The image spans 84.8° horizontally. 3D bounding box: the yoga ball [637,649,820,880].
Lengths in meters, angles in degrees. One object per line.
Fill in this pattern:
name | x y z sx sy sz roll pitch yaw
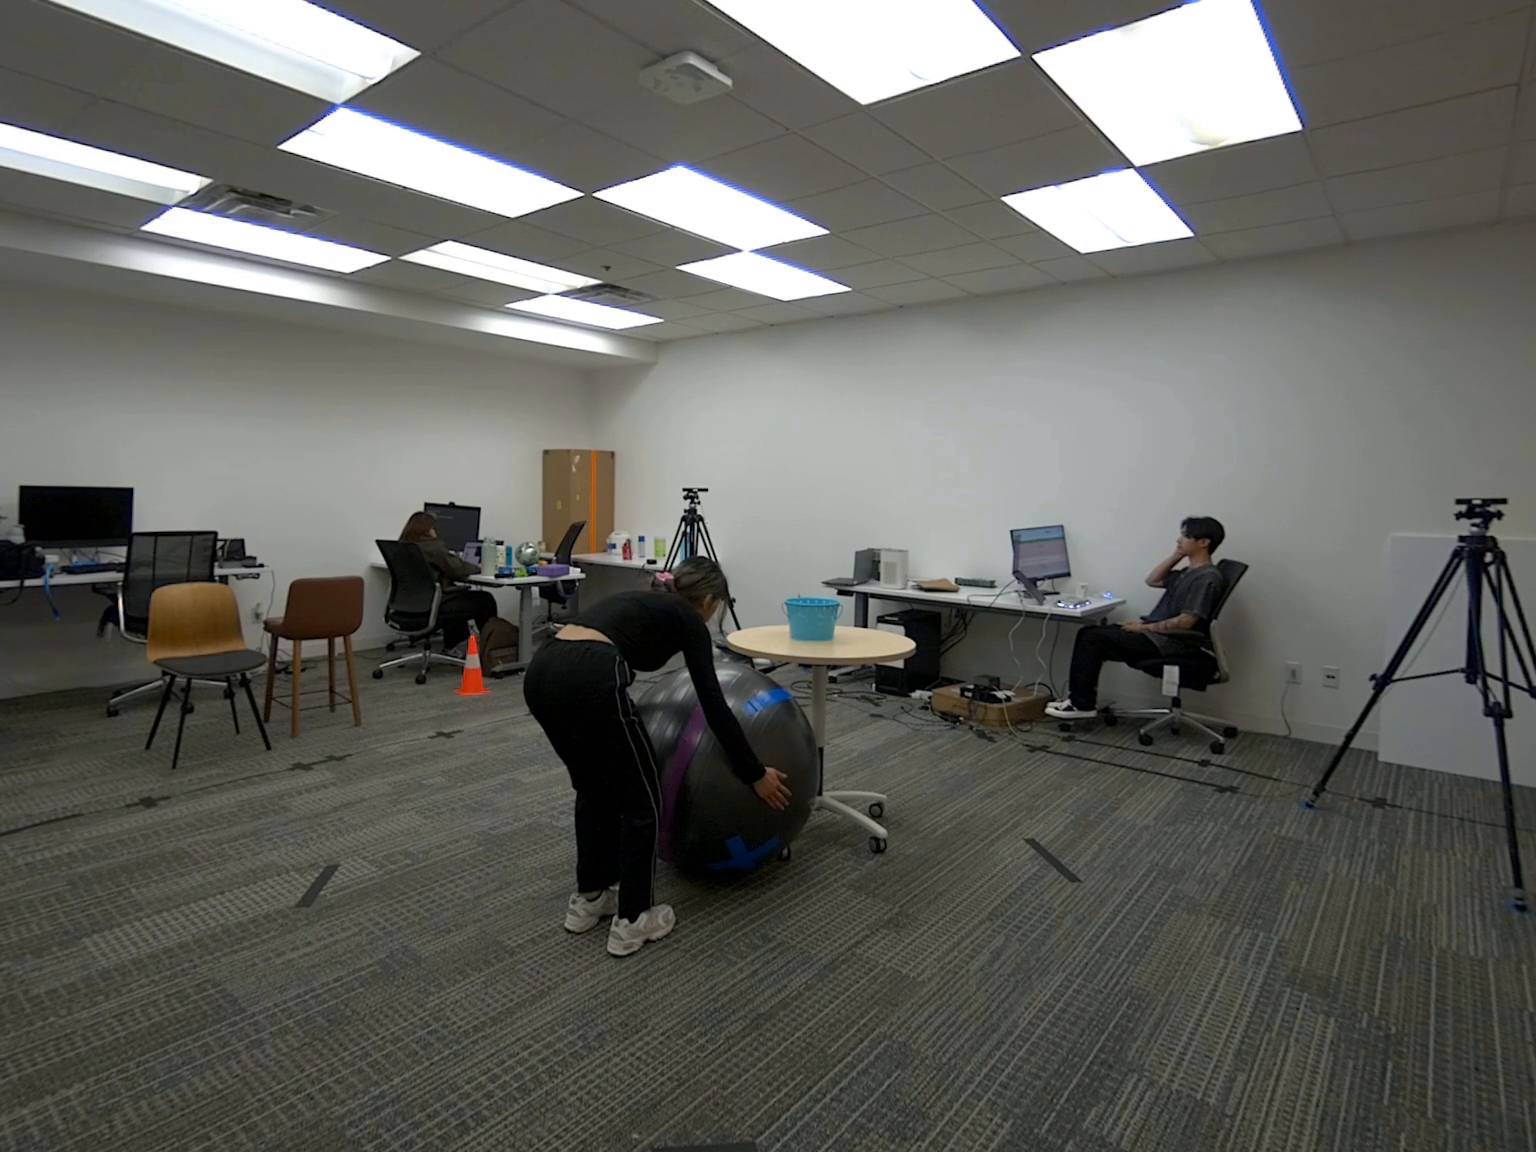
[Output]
yoga ball | -0.189 0.708 3.134 0.757 0.756 0.762 1 4 -2
